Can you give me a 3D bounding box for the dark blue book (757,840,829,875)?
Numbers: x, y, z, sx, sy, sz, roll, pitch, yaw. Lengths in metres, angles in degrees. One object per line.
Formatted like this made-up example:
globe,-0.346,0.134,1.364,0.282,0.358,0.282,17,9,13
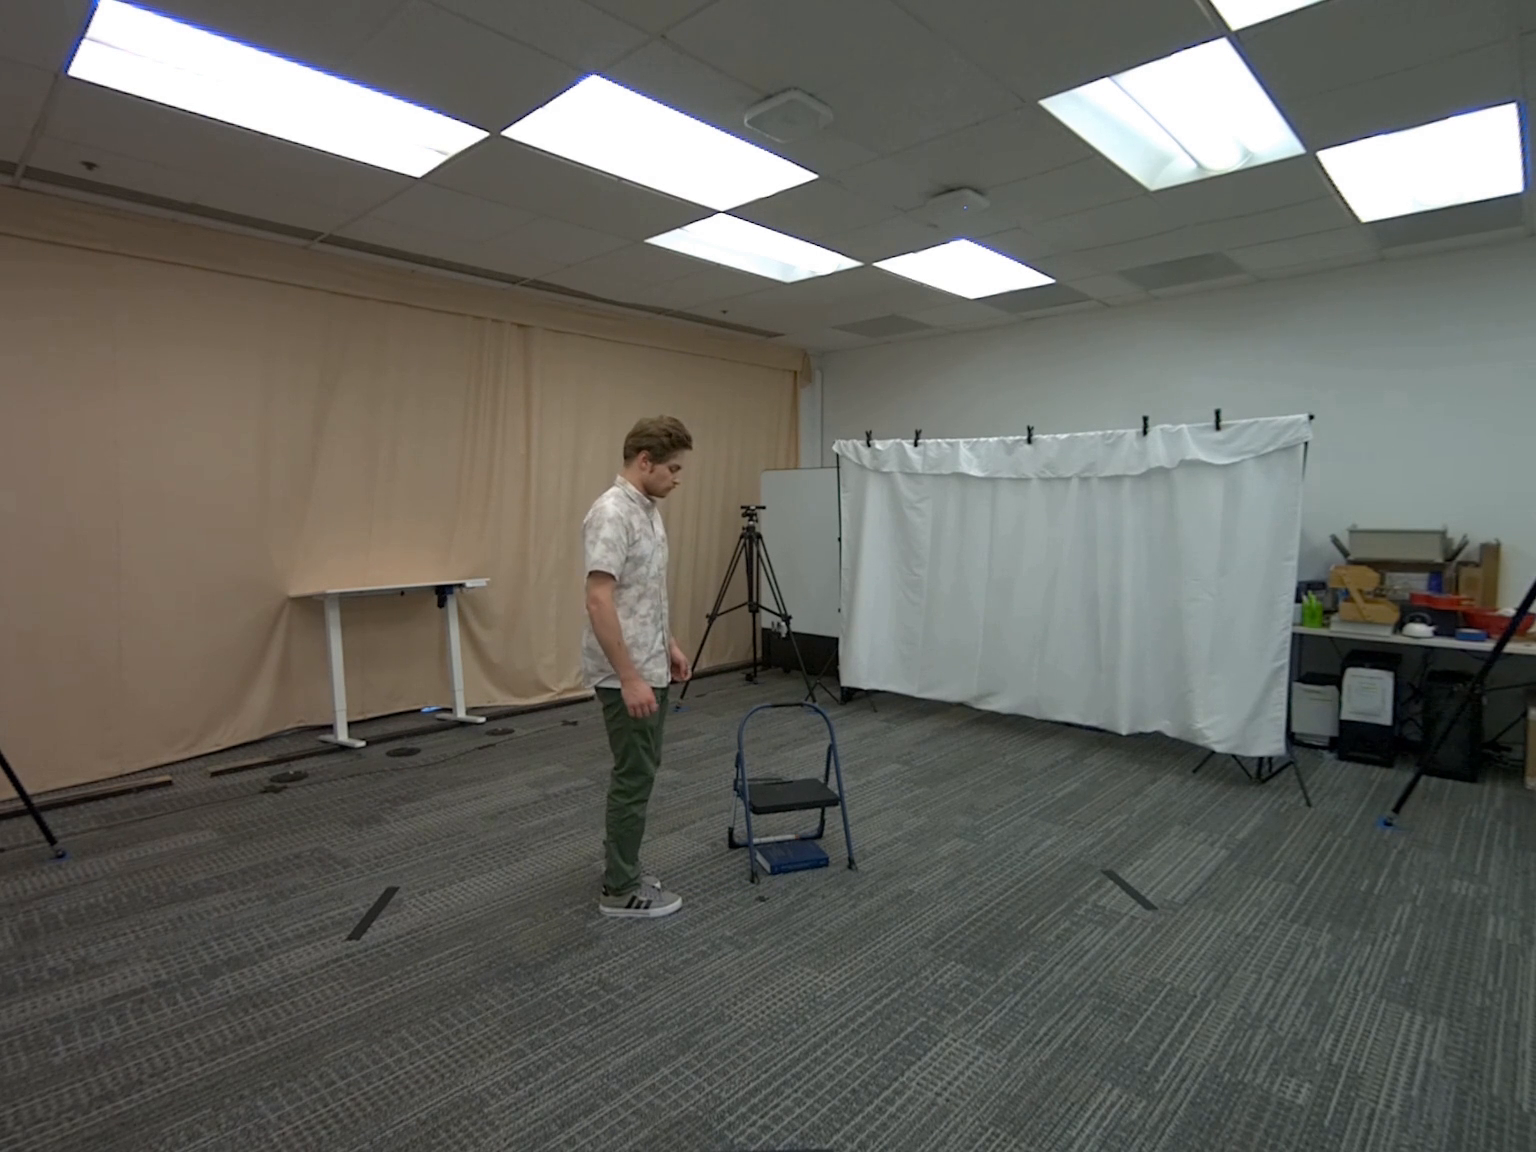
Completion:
dark blue book,0.104,1.097,3.283,0.240,0.045,0.167,-3,6,-19
